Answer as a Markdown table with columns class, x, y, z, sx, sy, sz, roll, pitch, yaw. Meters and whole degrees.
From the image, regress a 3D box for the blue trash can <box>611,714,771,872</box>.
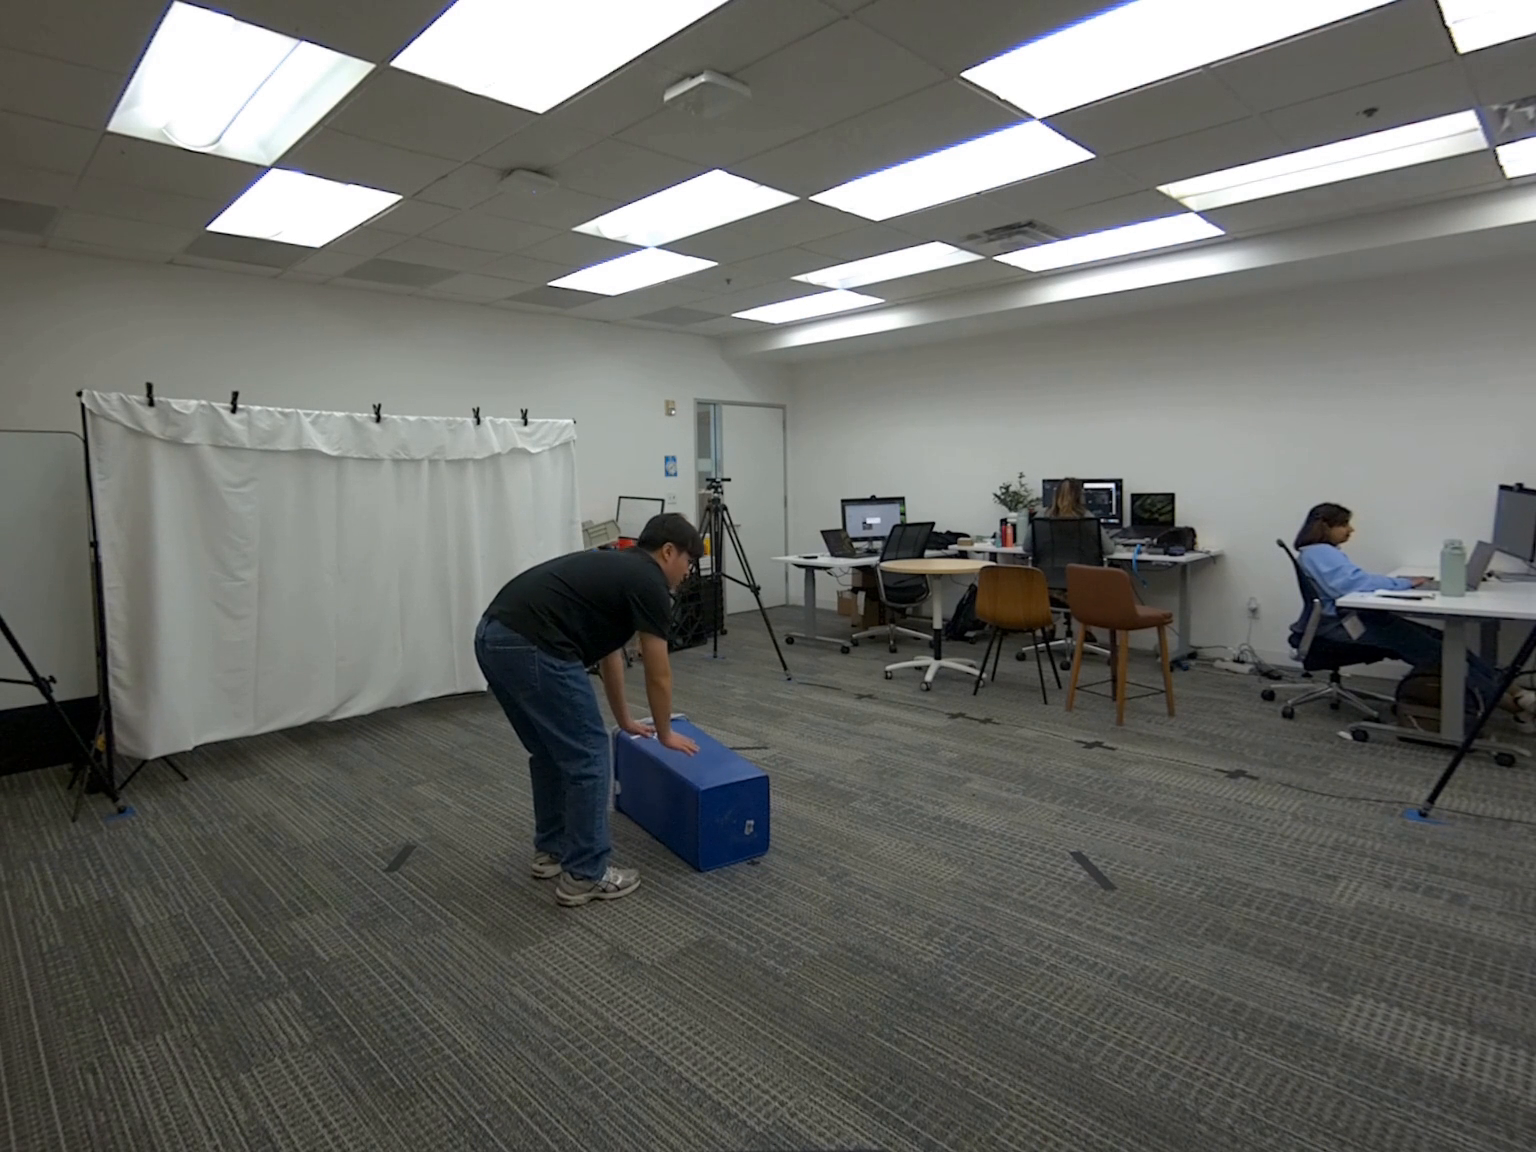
| class | x | y | z | sx | sy | sz | roll | pitch | yaw |
| --- | --- | --- | --- | --- | --- | --- | --- | --- | --- |
| blue trash can | -0.307 | 0.846 | 3.399 | 0.365 | 0.376 | 0.736 | -4 | 9 | -33 |
